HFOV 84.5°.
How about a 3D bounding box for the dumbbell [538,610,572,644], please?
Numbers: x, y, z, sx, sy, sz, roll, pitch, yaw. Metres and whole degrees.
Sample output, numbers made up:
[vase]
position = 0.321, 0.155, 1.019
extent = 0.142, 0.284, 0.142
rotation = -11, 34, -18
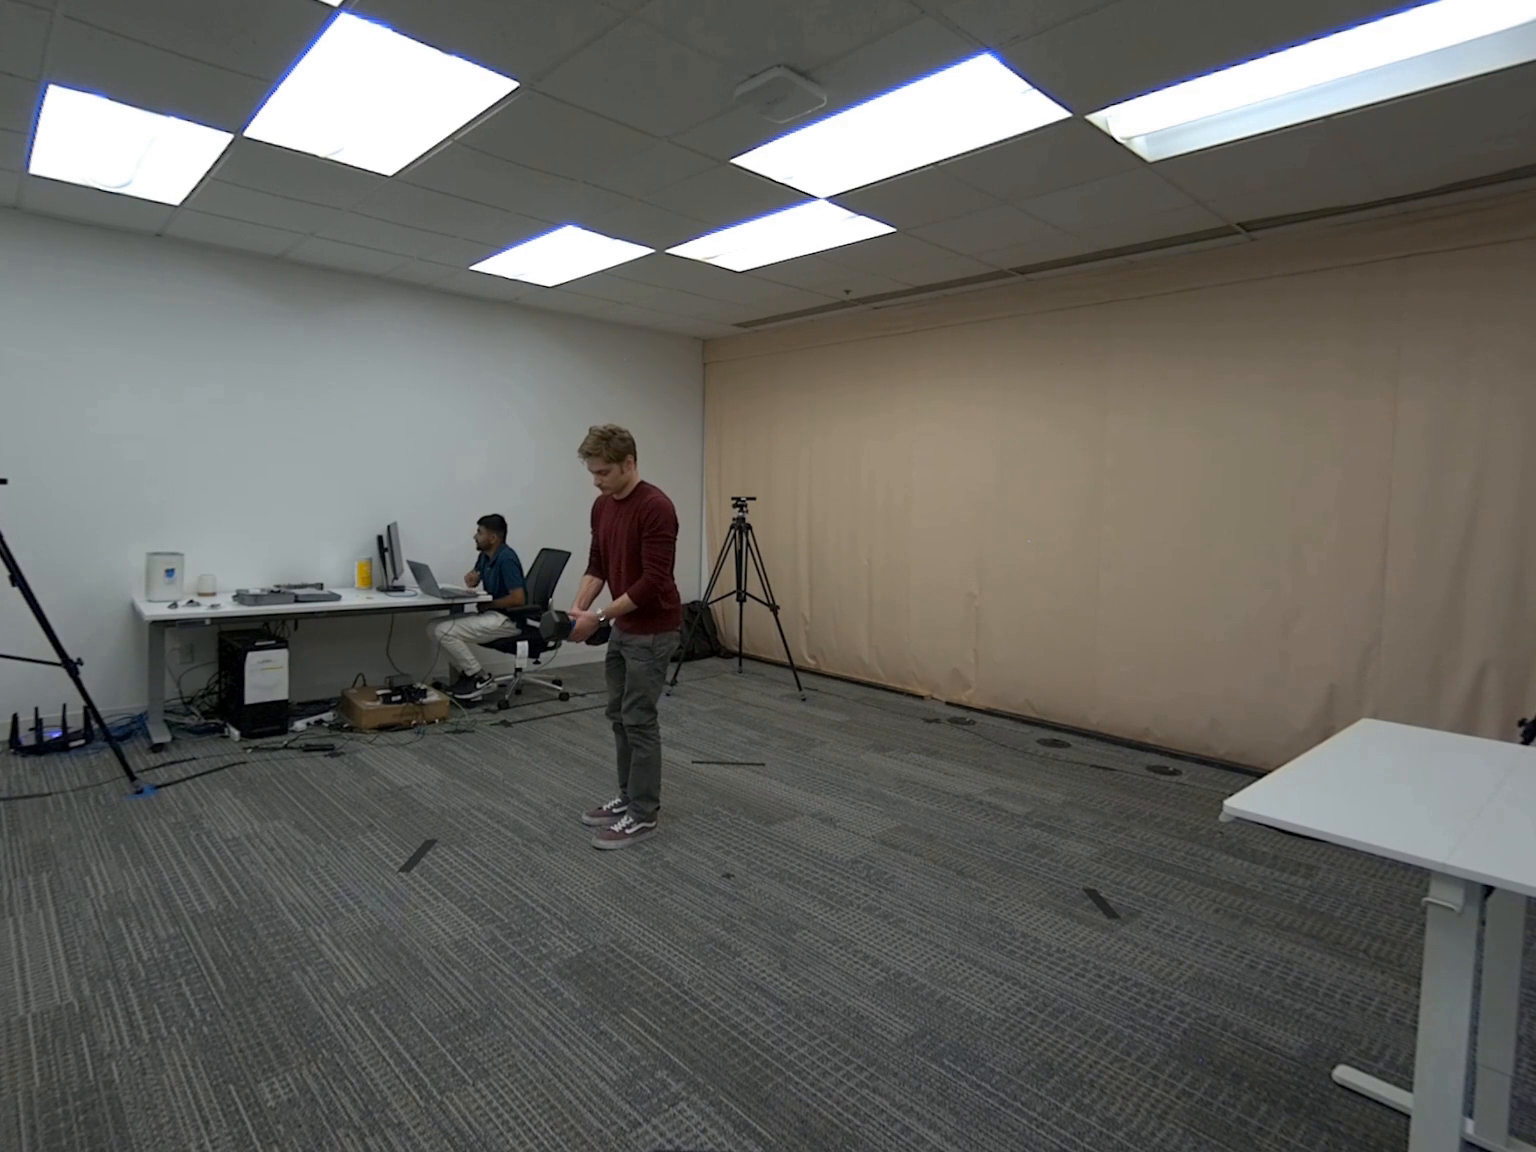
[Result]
[dumbbell]
position = -0.756, 0.211, 3.292
extent = 0.285, 0.108, 0.126
rotation = 14, 30, -52
